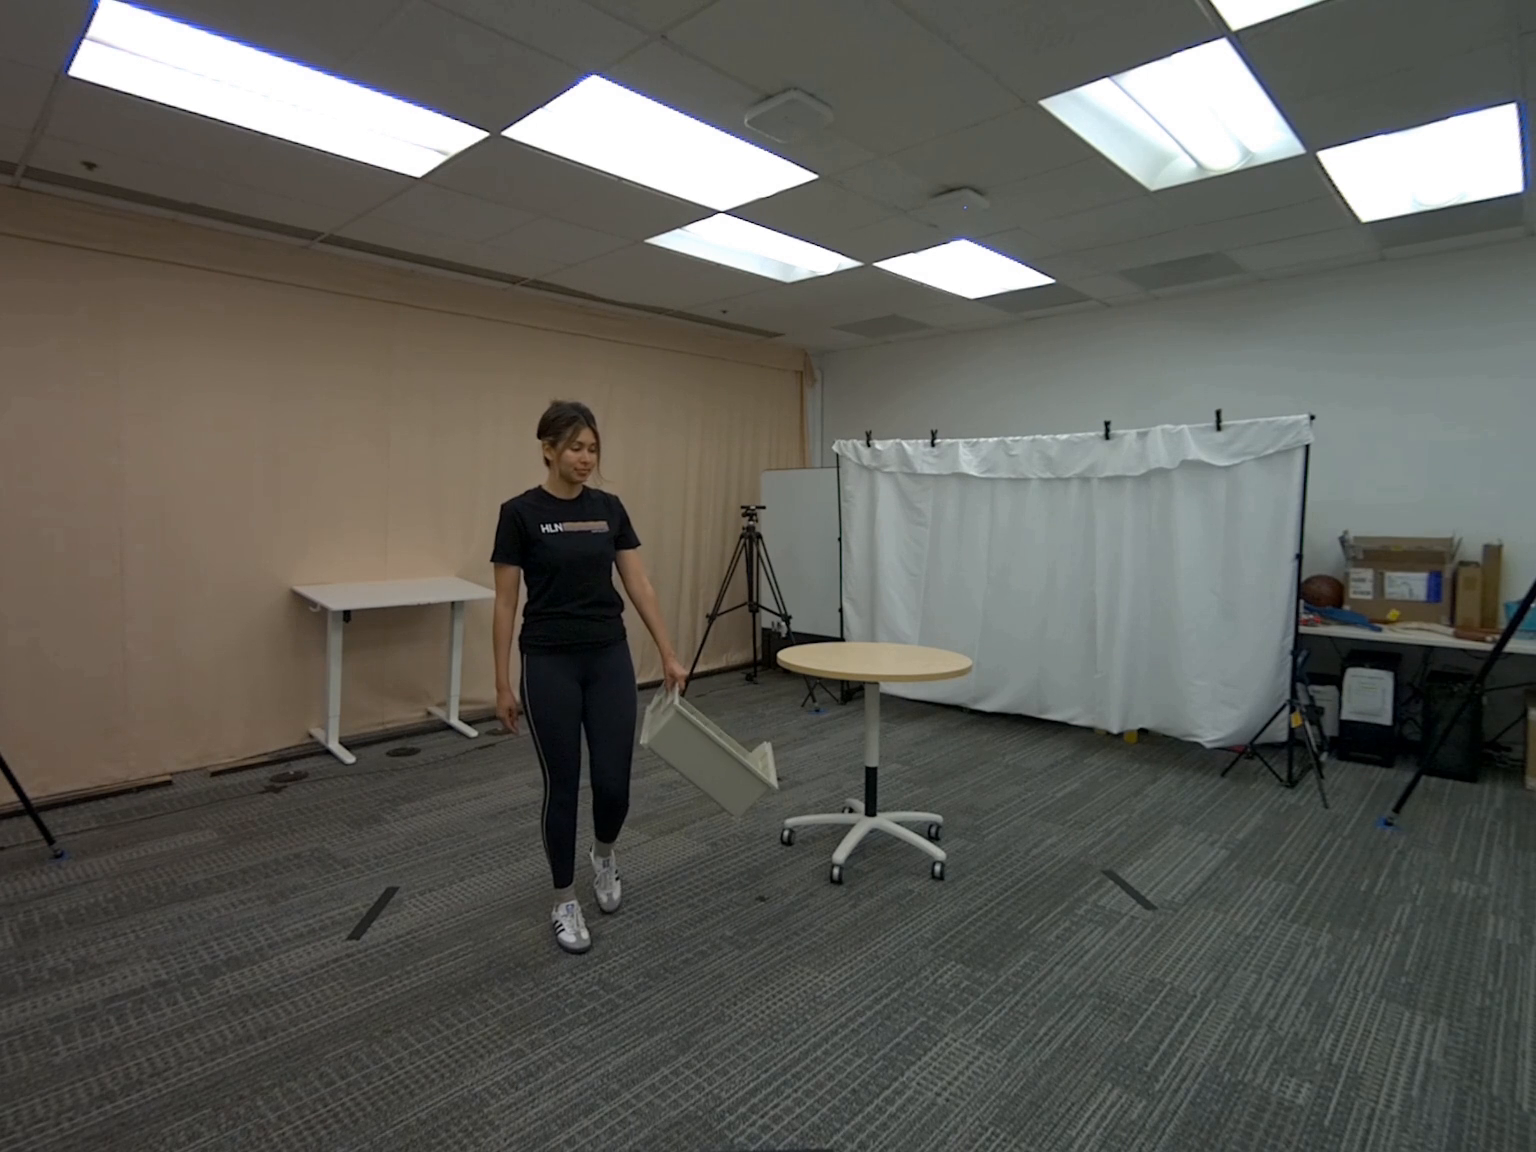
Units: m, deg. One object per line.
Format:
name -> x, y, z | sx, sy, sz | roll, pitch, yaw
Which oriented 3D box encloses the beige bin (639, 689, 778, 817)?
beige bin -> -0.193, 0.547, 2.775 | 0.418, 0.189, 0.380 | 42, 9, -9
